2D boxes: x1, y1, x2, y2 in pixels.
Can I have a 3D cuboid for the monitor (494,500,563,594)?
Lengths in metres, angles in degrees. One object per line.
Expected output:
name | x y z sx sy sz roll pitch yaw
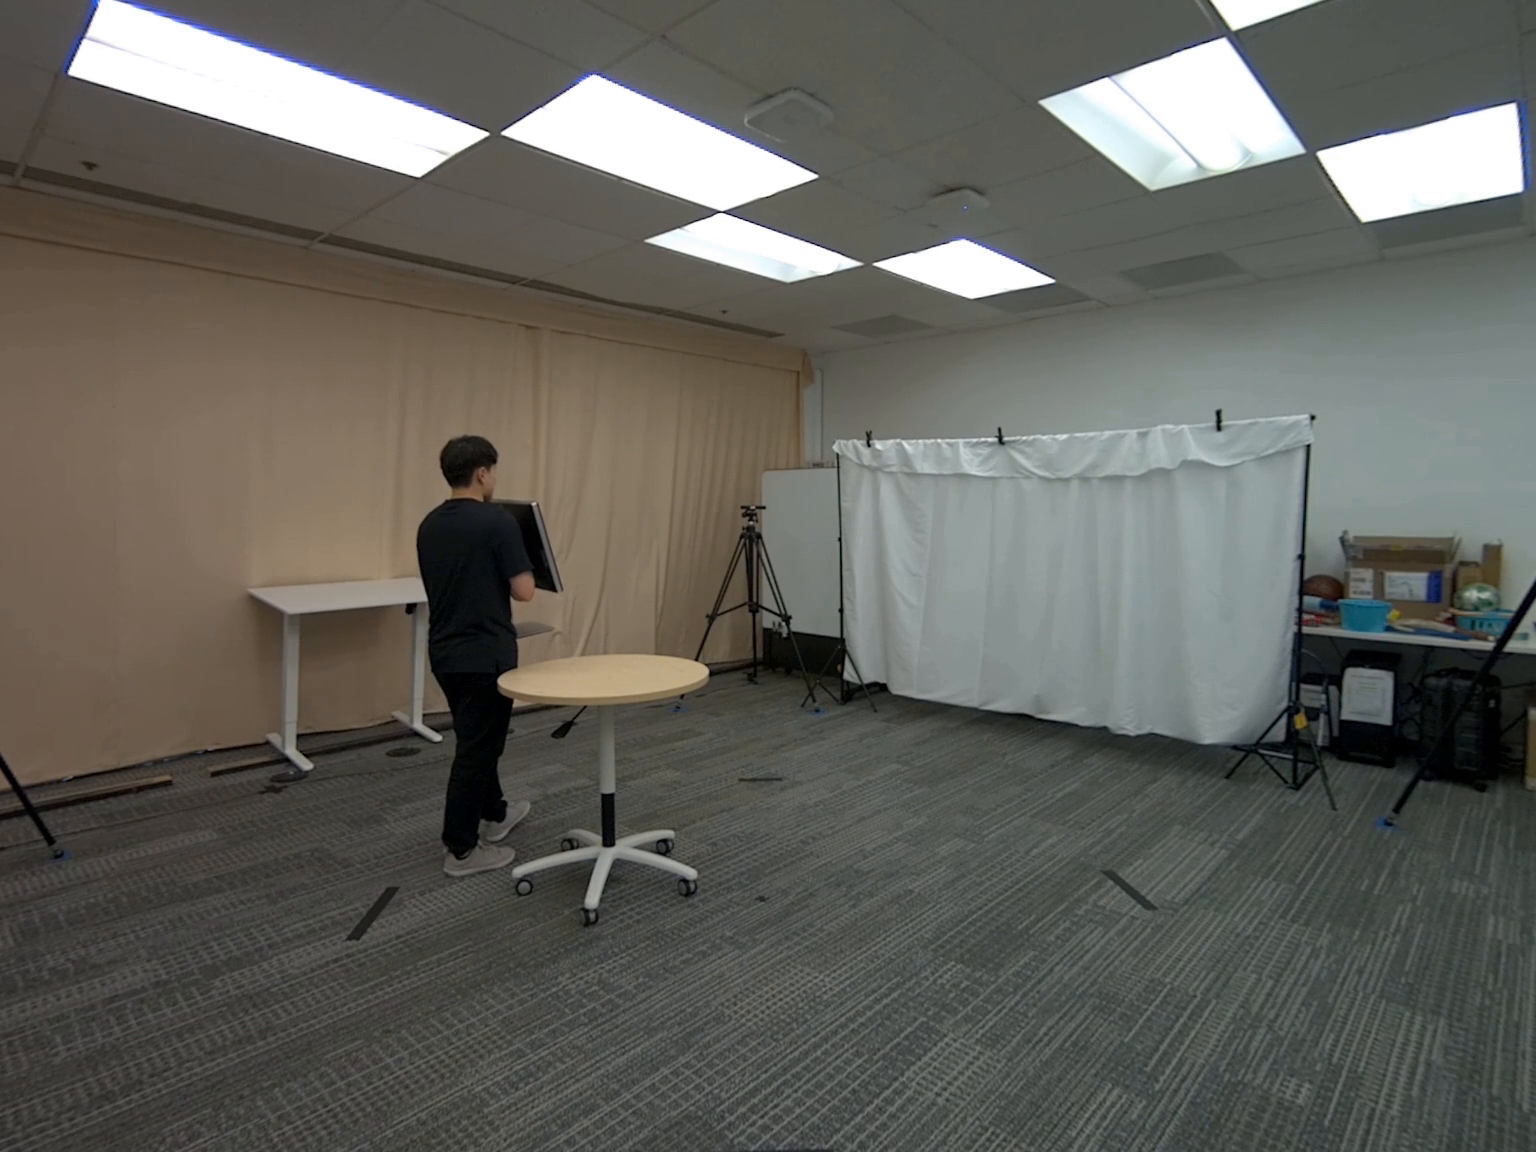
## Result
monitor | -1.034 -0.041 3.406 0.182 0.520 0.557 -9 10 -39
